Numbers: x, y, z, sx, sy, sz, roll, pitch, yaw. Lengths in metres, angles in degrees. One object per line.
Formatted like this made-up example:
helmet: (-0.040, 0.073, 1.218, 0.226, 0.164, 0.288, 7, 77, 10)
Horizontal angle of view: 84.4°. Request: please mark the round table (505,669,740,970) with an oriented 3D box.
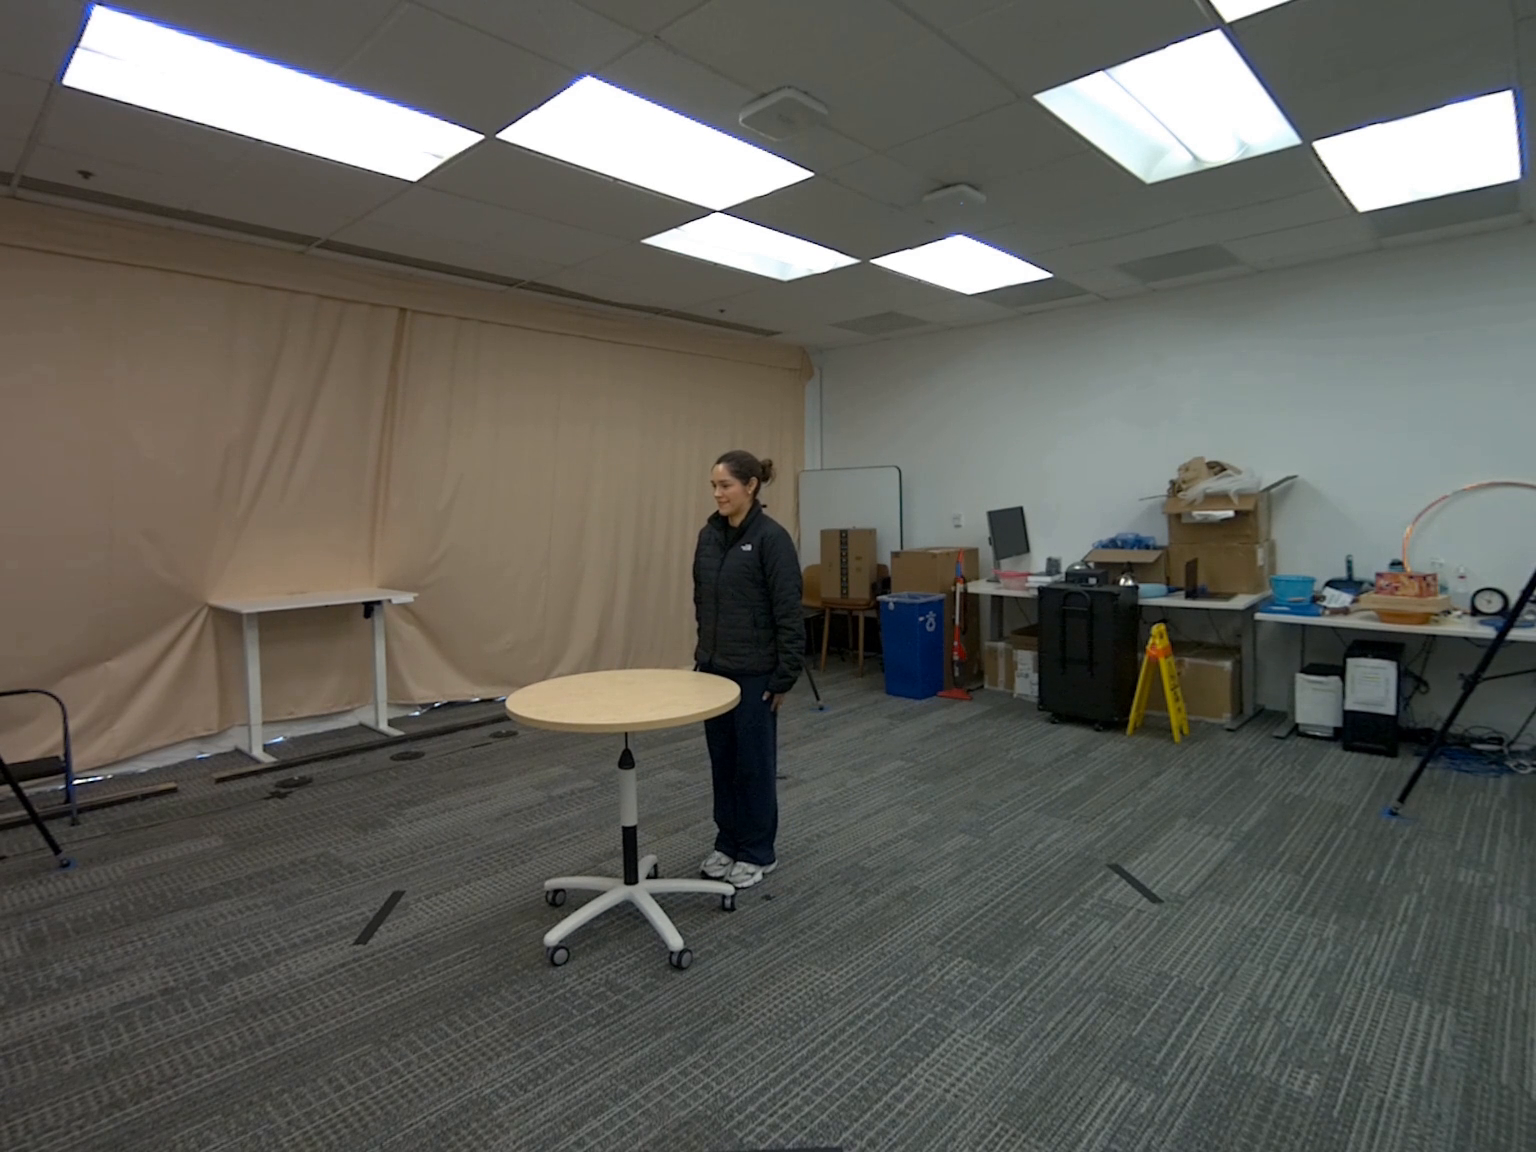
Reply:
round table: (-0.446, 0.774, 2.803, 0.784, 0.784, 0.788, -2, 5, -2)
